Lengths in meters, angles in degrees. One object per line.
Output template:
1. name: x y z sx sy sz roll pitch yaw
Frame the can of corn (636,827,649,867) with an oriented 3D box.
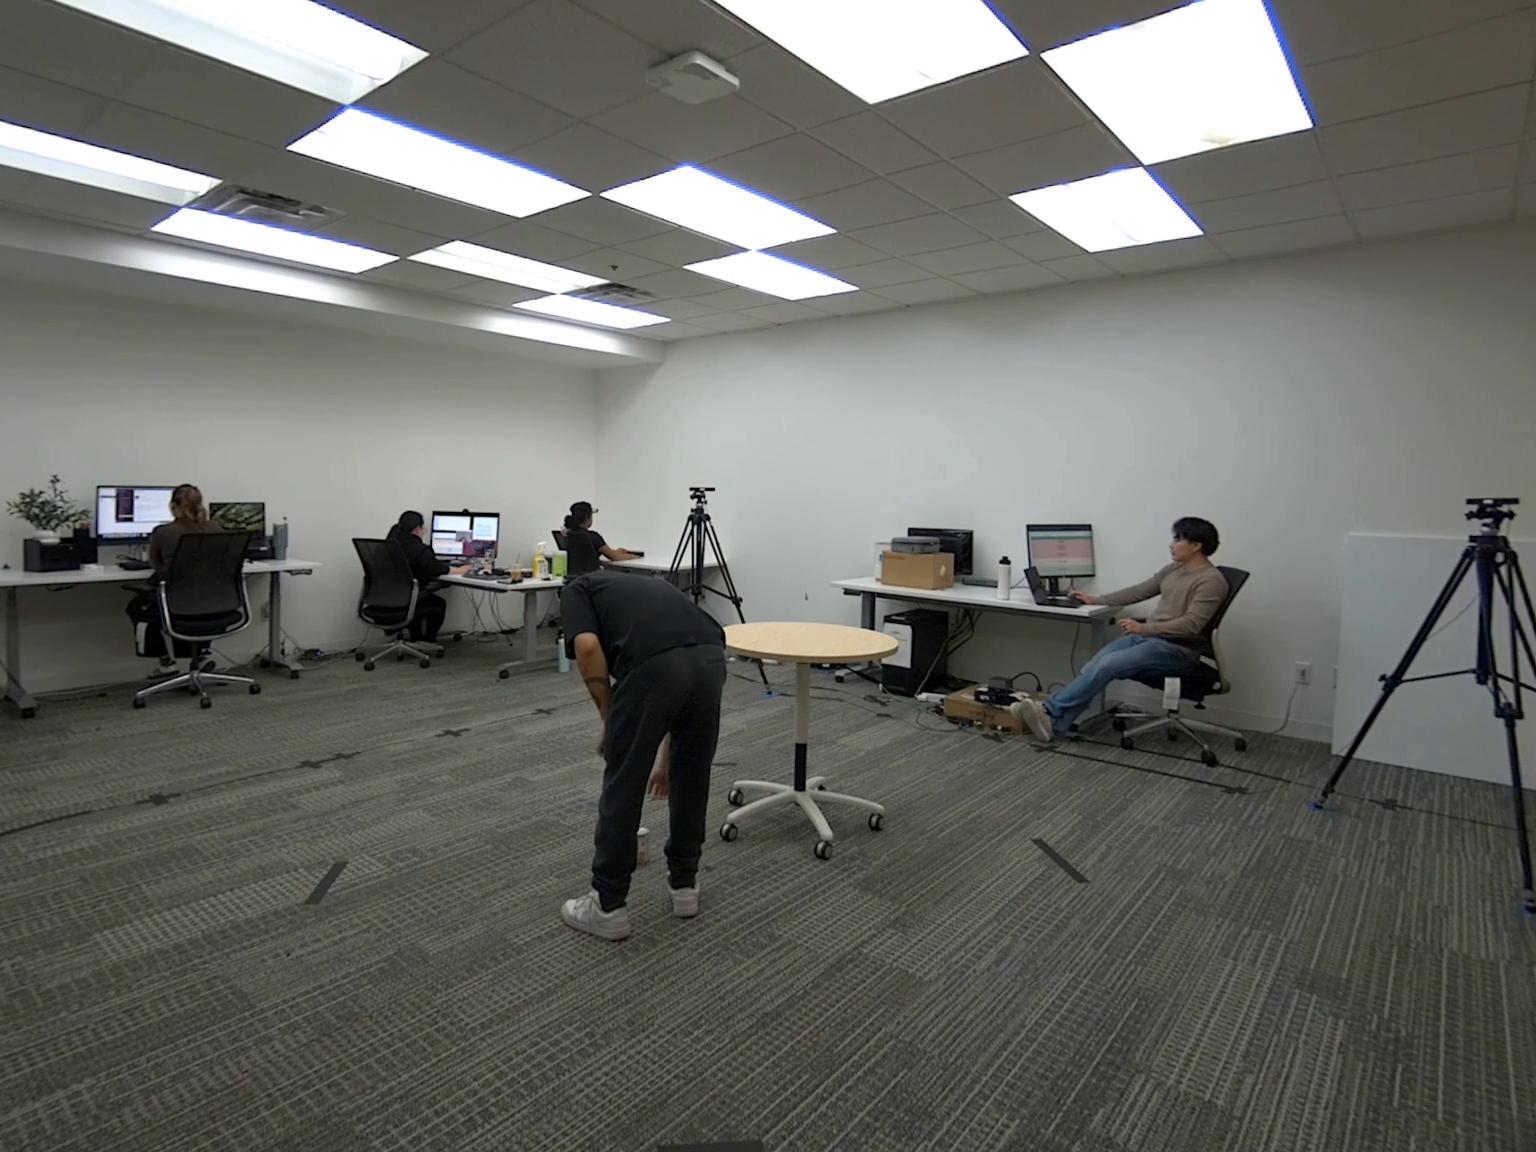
1. can of corn: -0.485 1.002 3.167 0.074 0.111 0.074 1 3 -2
